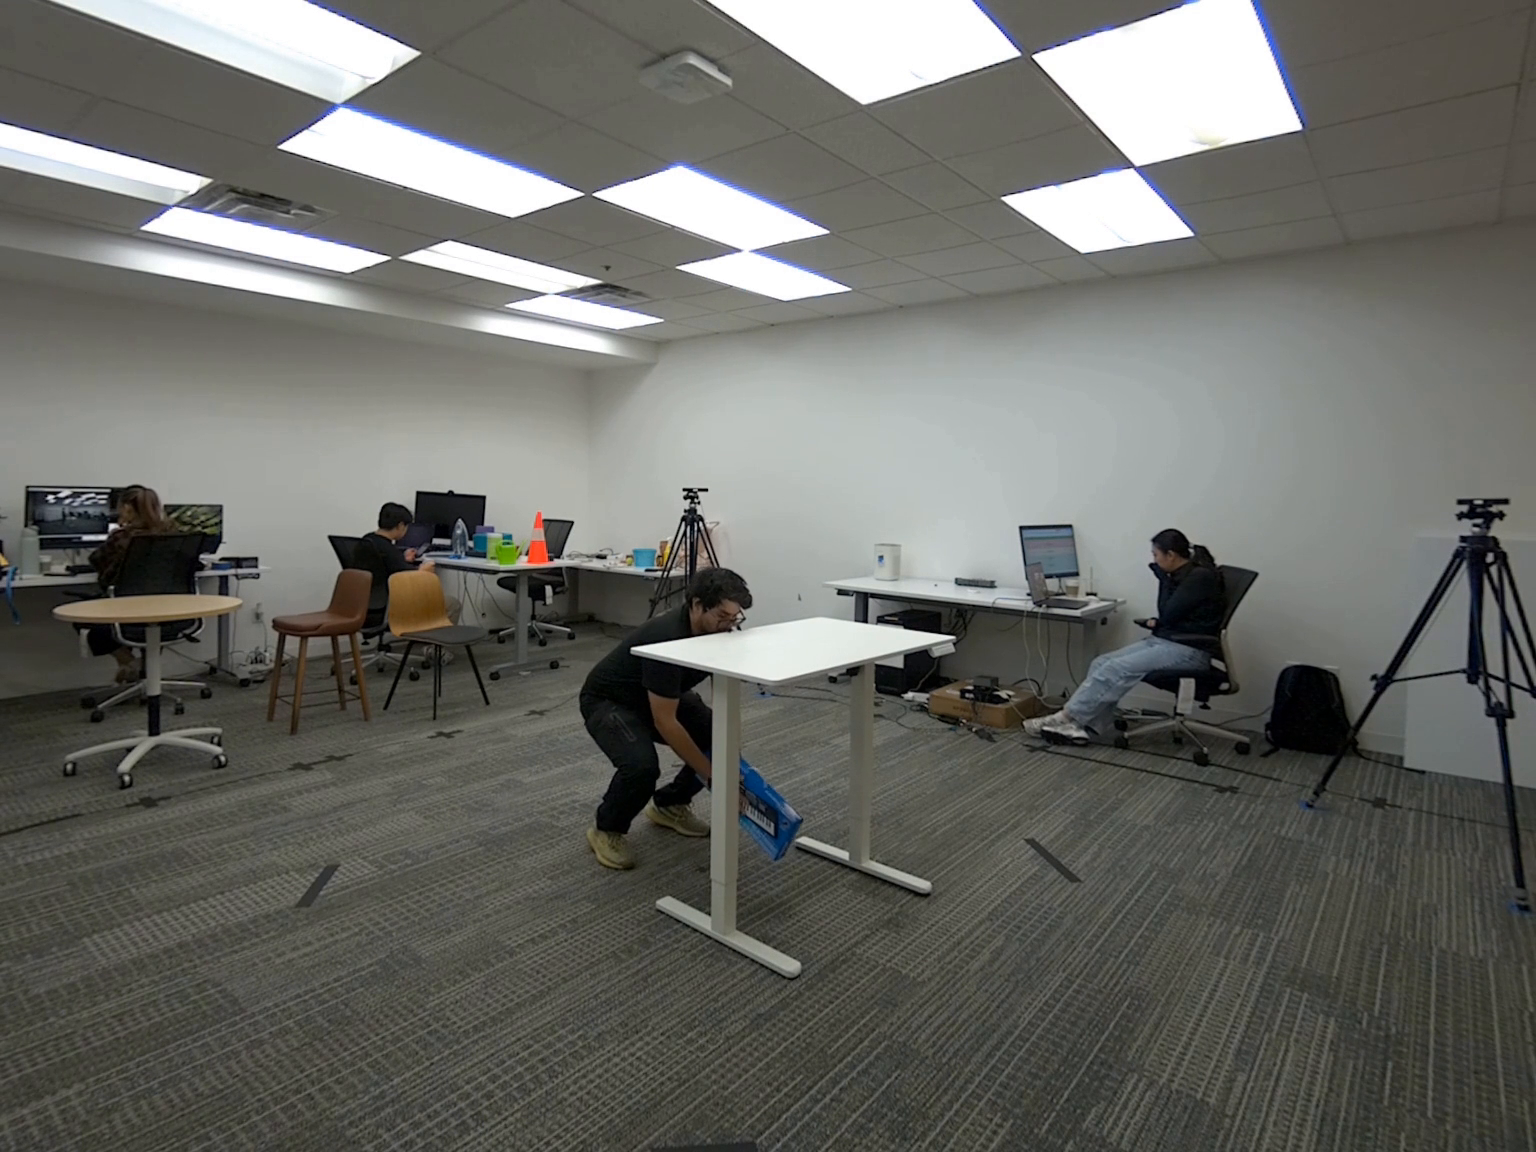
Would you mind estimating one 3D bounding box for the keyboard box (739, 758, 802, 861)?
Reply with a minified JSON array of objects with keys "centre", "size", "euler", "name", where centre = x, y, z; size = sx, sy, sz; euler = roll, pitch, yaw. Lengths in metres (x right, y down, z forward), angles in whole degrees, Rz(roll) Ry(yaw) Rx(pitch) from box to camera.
[{"centre":[-0.082,0.789,3.027],"size":[0.455,0.174,0.057],"euler":[38,23,34],"name":"keyboard box"}]
